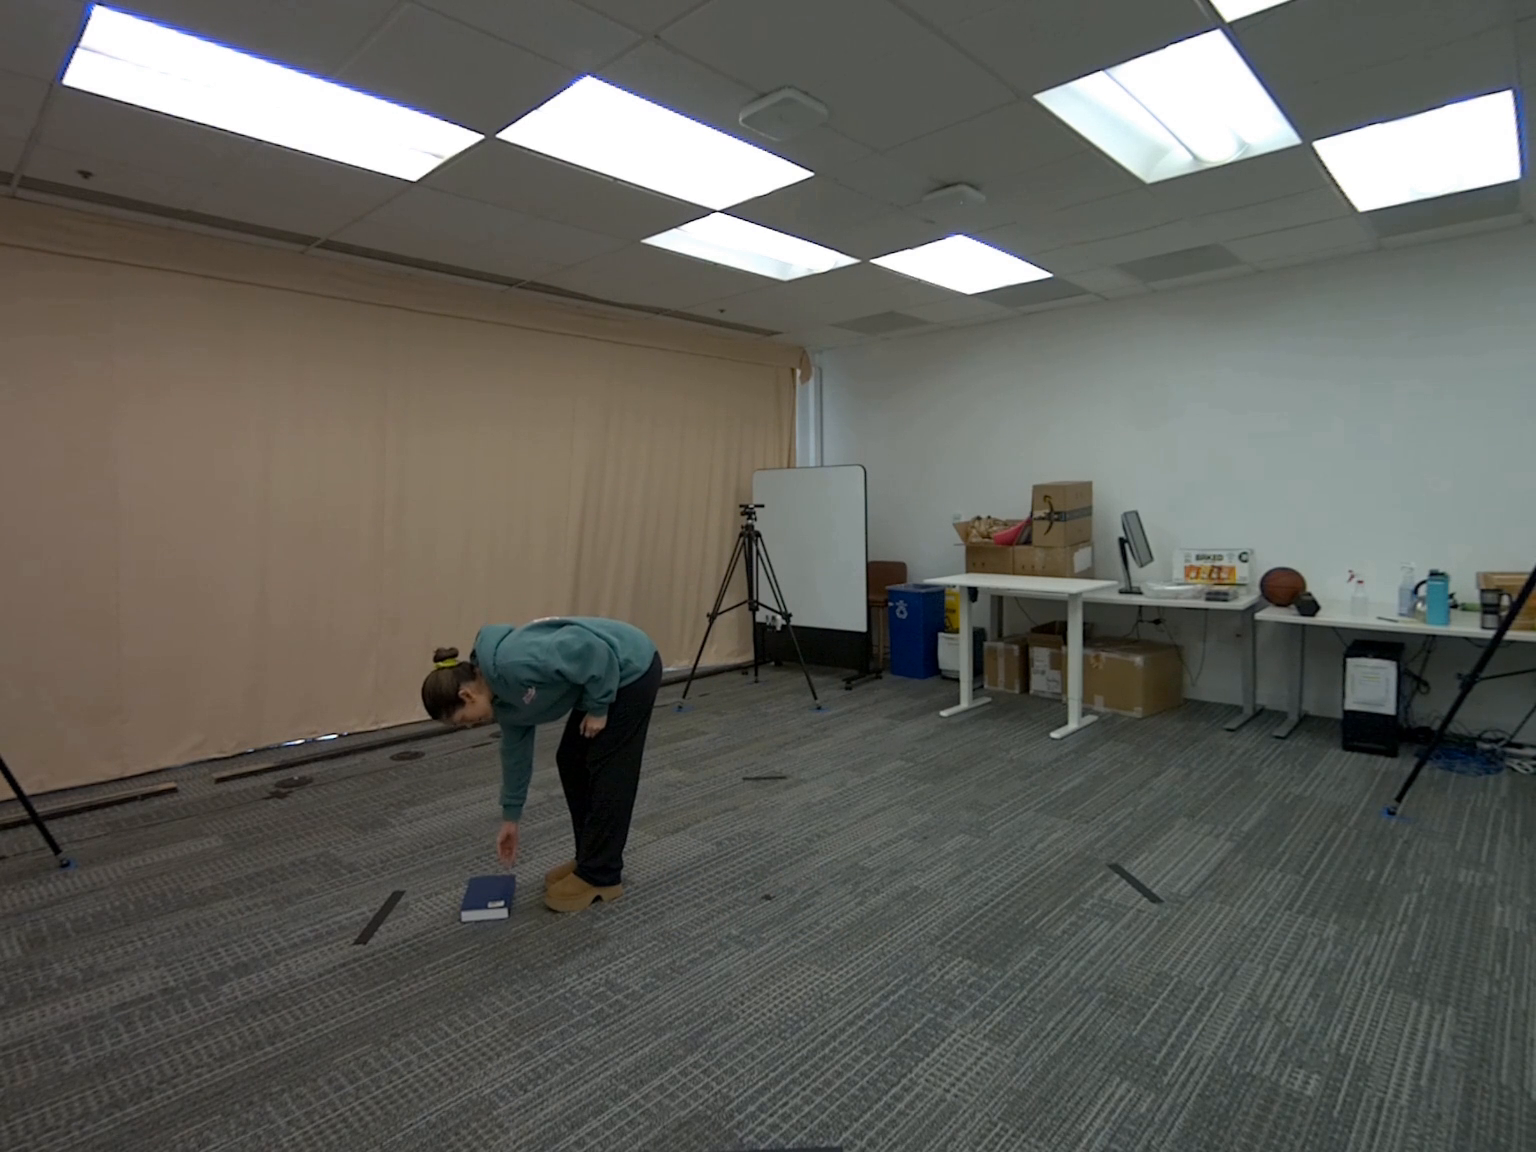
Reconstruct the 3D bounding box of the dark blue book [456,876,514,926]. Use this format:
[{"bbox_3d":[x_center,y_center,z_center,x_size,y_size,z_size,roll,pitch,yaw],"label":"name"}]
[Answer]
[{"bbox_3d":[-0.989,1.134,2.973,0.162,0.045,0.248,-1,6,-10],"label":"dark blue book"}]
